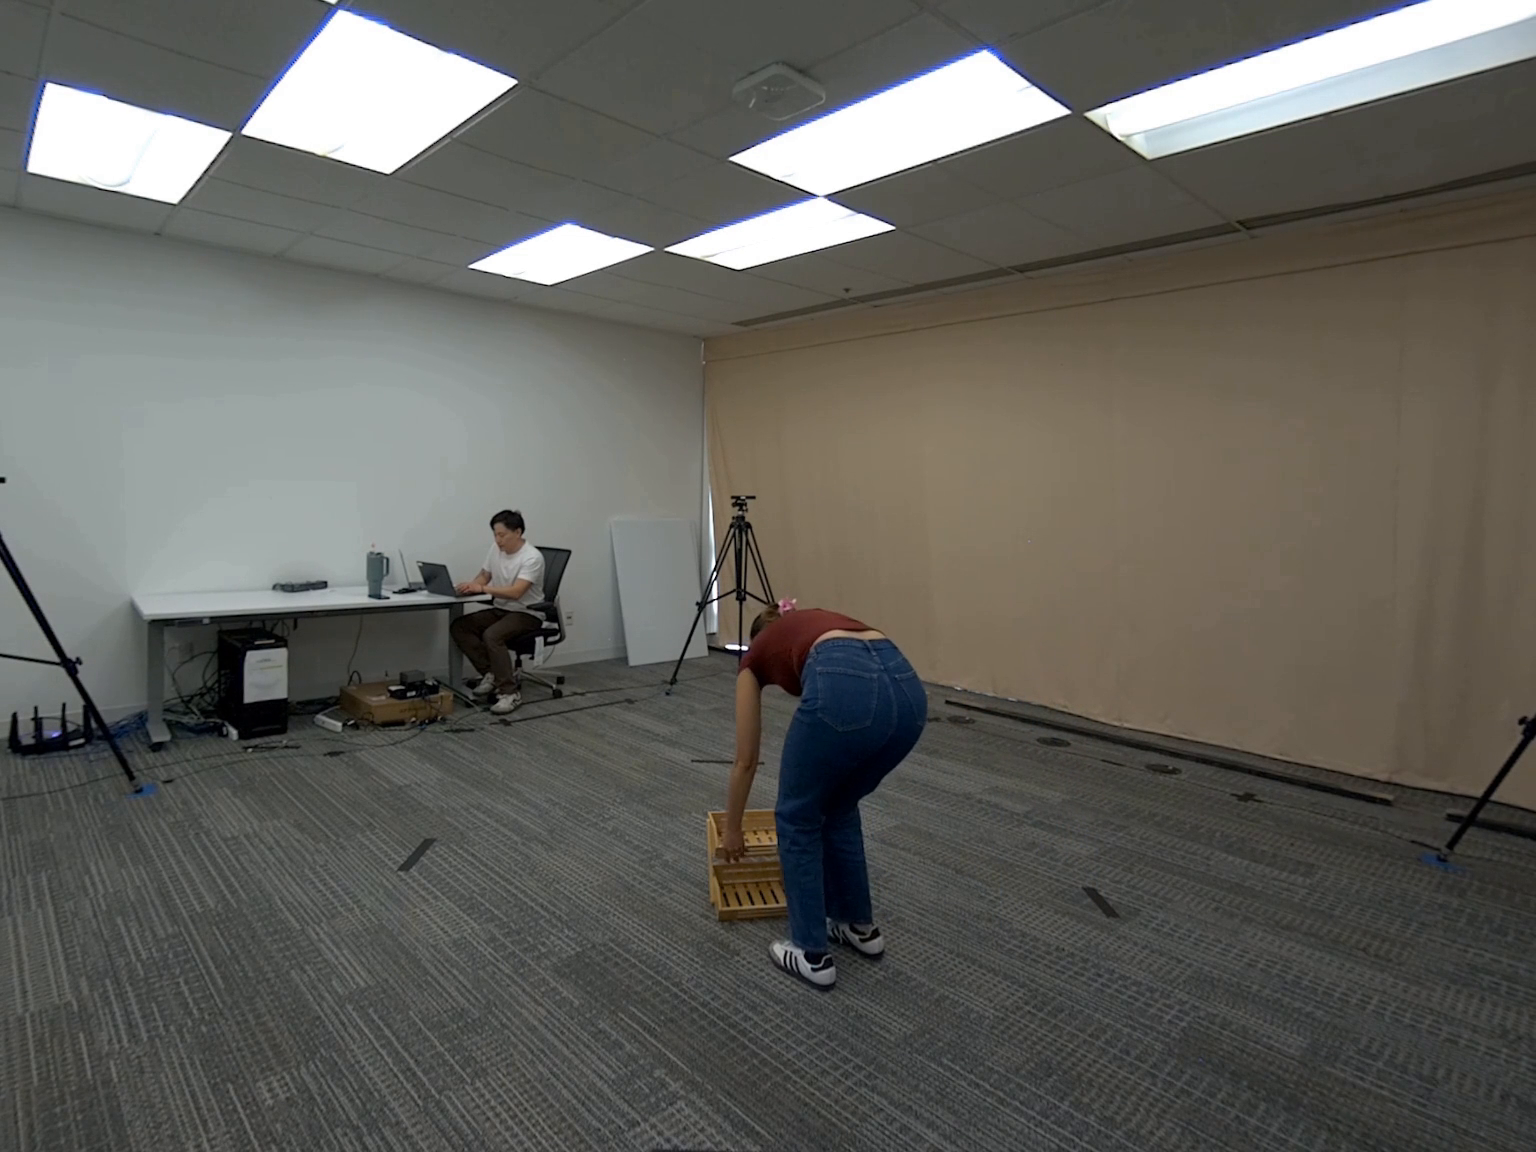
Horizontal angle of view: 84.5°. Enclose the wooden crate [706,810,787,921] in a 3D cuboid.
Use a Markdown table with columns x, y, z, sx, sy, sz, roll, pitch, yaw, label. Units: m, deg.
| x | y | z | sx | sy | sz | roll | pitch | yaw | label |
| --- | --- | --- | --- | --- | --- | --- | --- | --- | --- |
| -0.049 | 0.987 | 2.905 | 0.322 | 0.272 | 0.305 | 0 | 4 | -11 | wooden crate |
